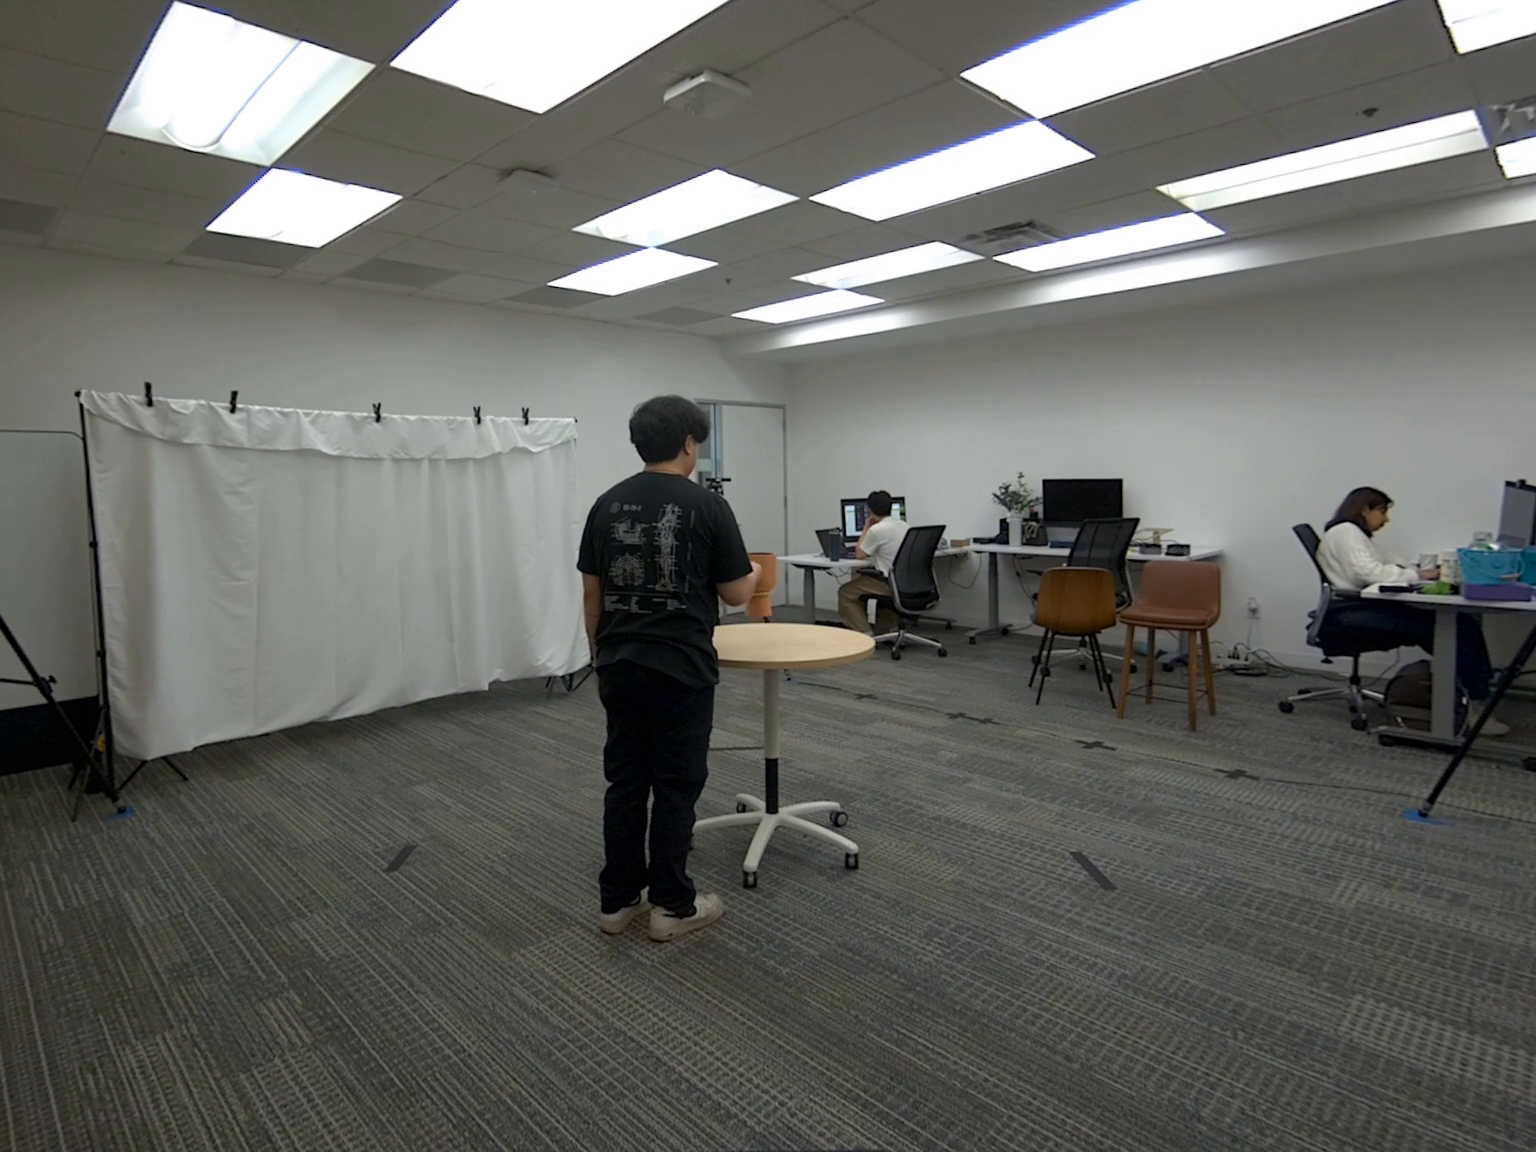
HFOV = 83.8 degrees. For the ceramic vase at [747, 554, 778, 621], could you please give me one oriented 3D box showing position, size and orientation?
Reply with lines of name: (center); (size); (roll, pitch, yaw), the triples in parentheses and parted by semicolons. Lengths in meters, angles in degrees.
ceramic vase: (-0.029, 0.034, 3.060); (0.154, 0.219, 0.139); (-3, 5, -38)
